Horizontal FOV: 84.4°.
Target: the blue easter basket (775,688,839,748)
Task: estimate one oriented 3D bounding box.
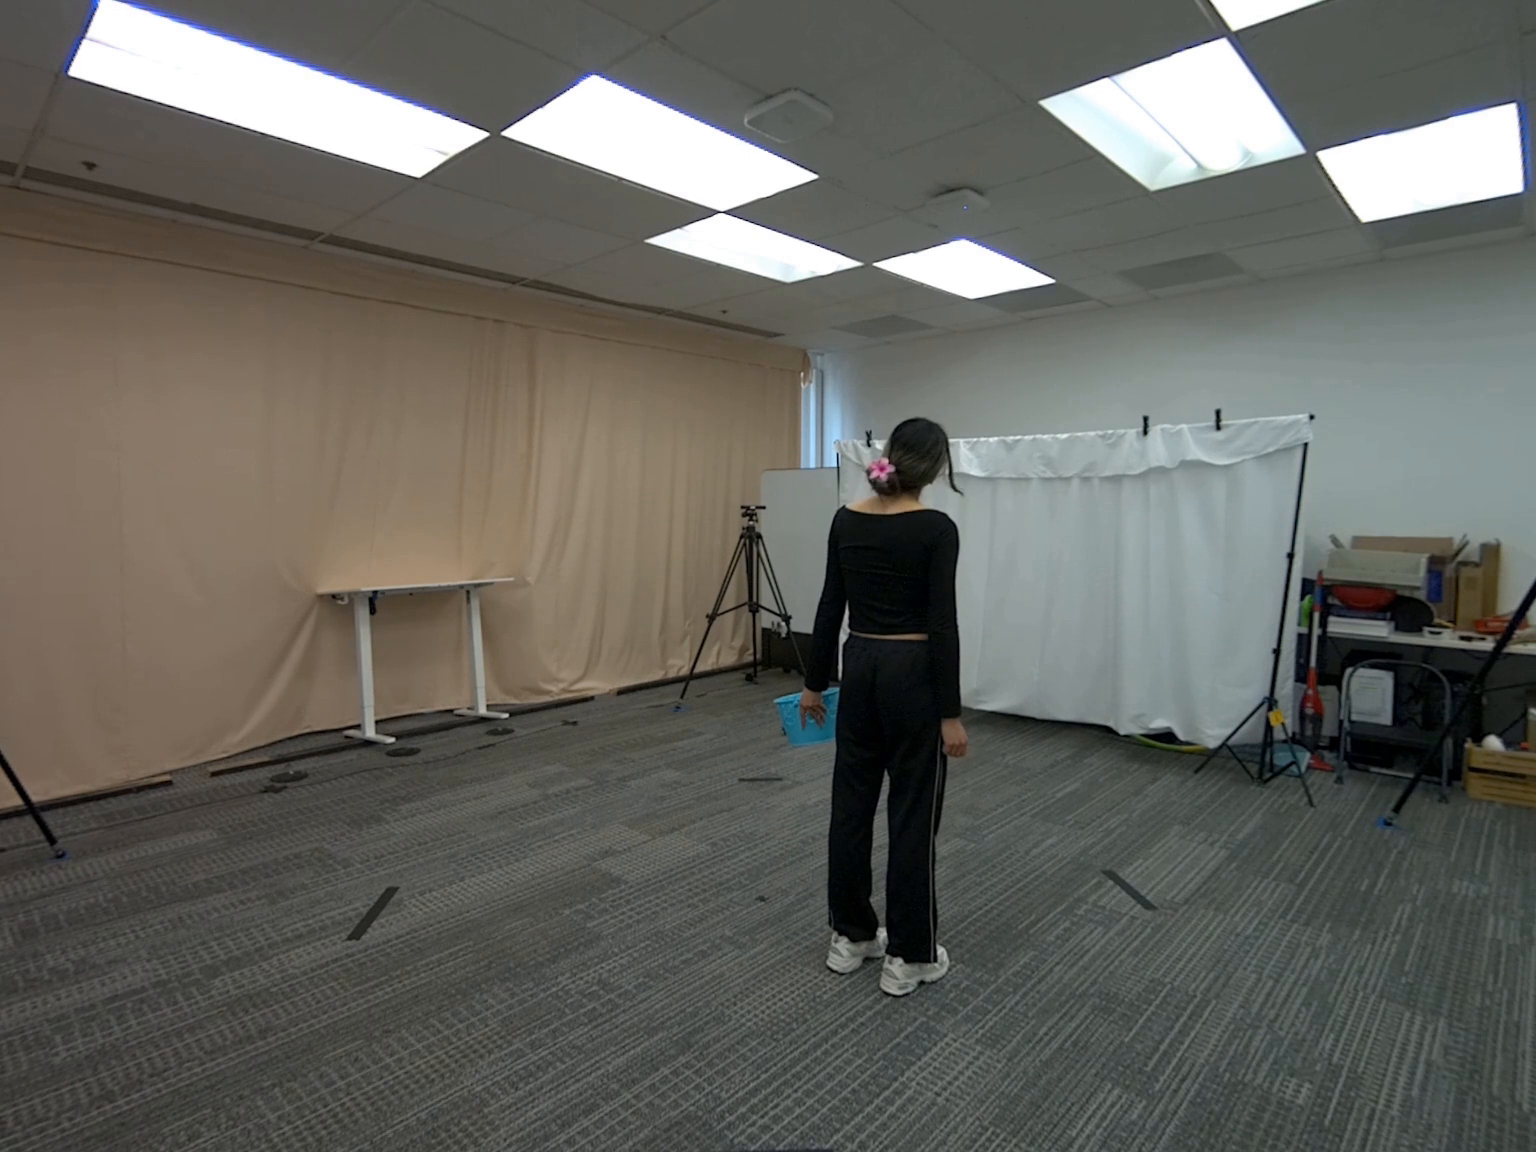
[{"bbox_3d":[0.141,0.479,2.832,0.243,0.156,0.243,-10,-4,-3],"label":"blue easter basket"}]
